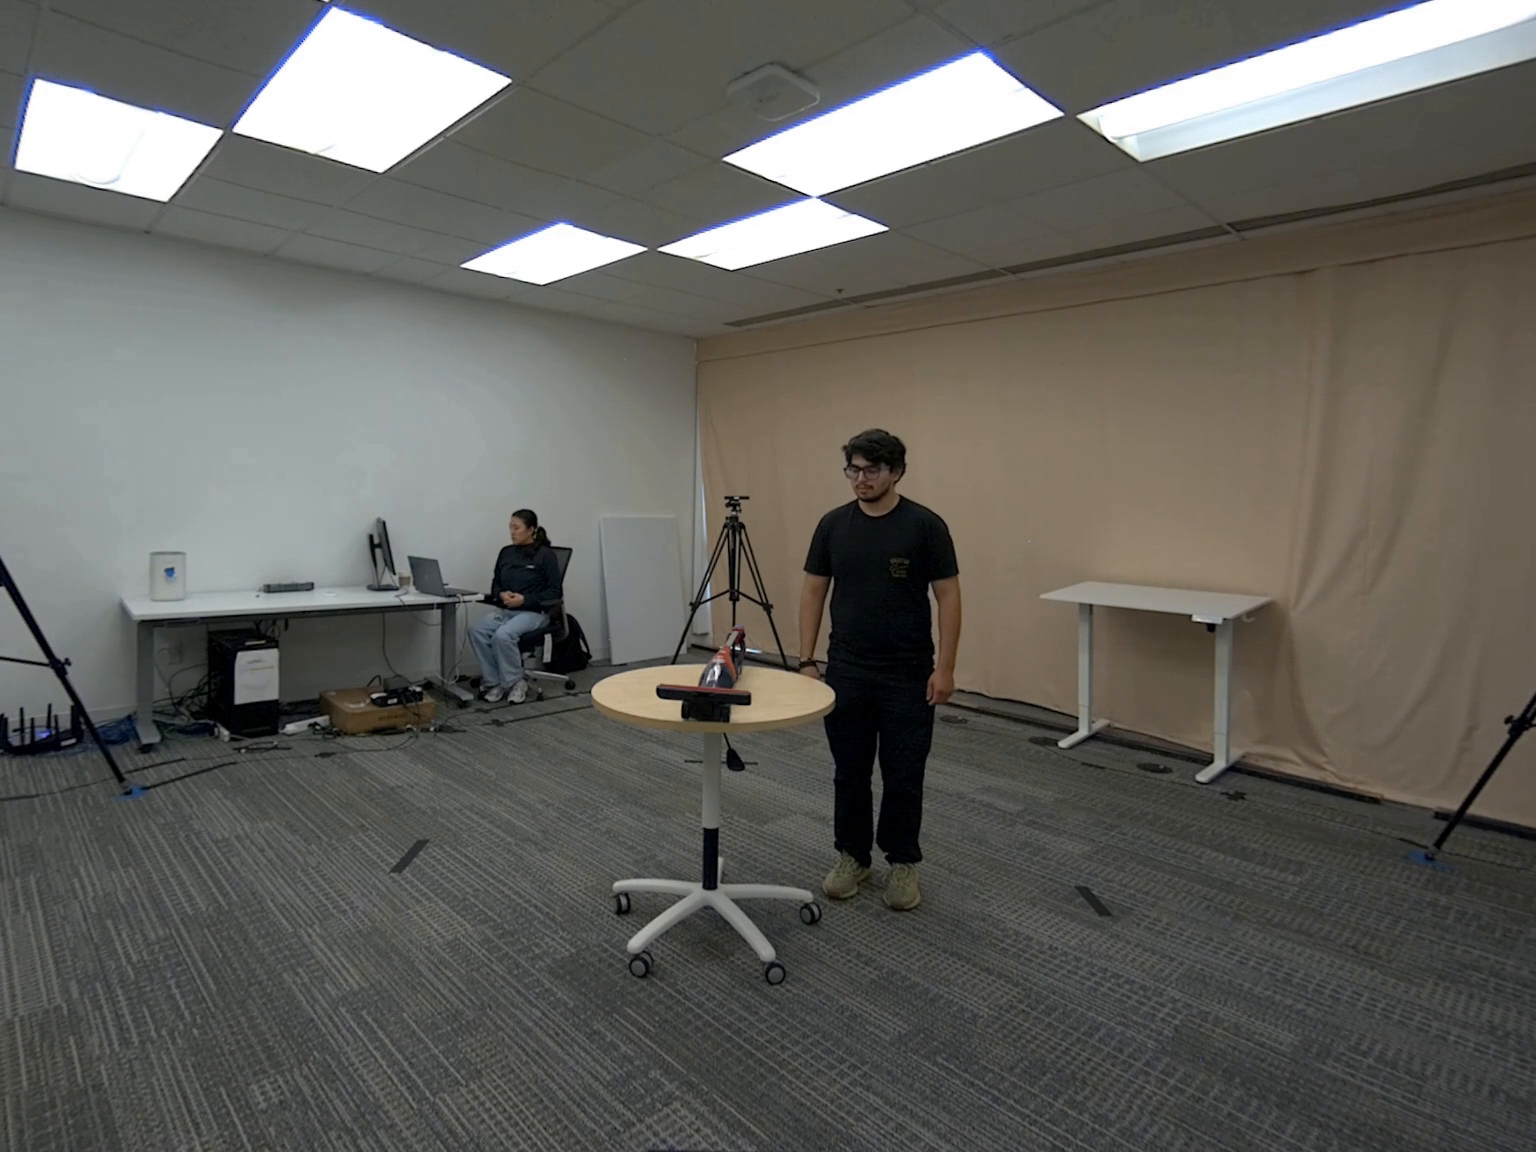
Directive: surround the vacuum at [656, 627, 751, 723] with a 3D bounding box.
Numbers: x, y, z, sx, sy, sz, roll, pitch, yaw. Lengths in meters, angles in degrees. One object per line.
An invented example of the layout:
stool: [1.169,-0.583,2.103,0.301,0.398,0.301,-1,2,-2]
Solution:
vacuum: [-0.135,0.291,2.769,0.254,0.143,1.048,-1,7,5]
